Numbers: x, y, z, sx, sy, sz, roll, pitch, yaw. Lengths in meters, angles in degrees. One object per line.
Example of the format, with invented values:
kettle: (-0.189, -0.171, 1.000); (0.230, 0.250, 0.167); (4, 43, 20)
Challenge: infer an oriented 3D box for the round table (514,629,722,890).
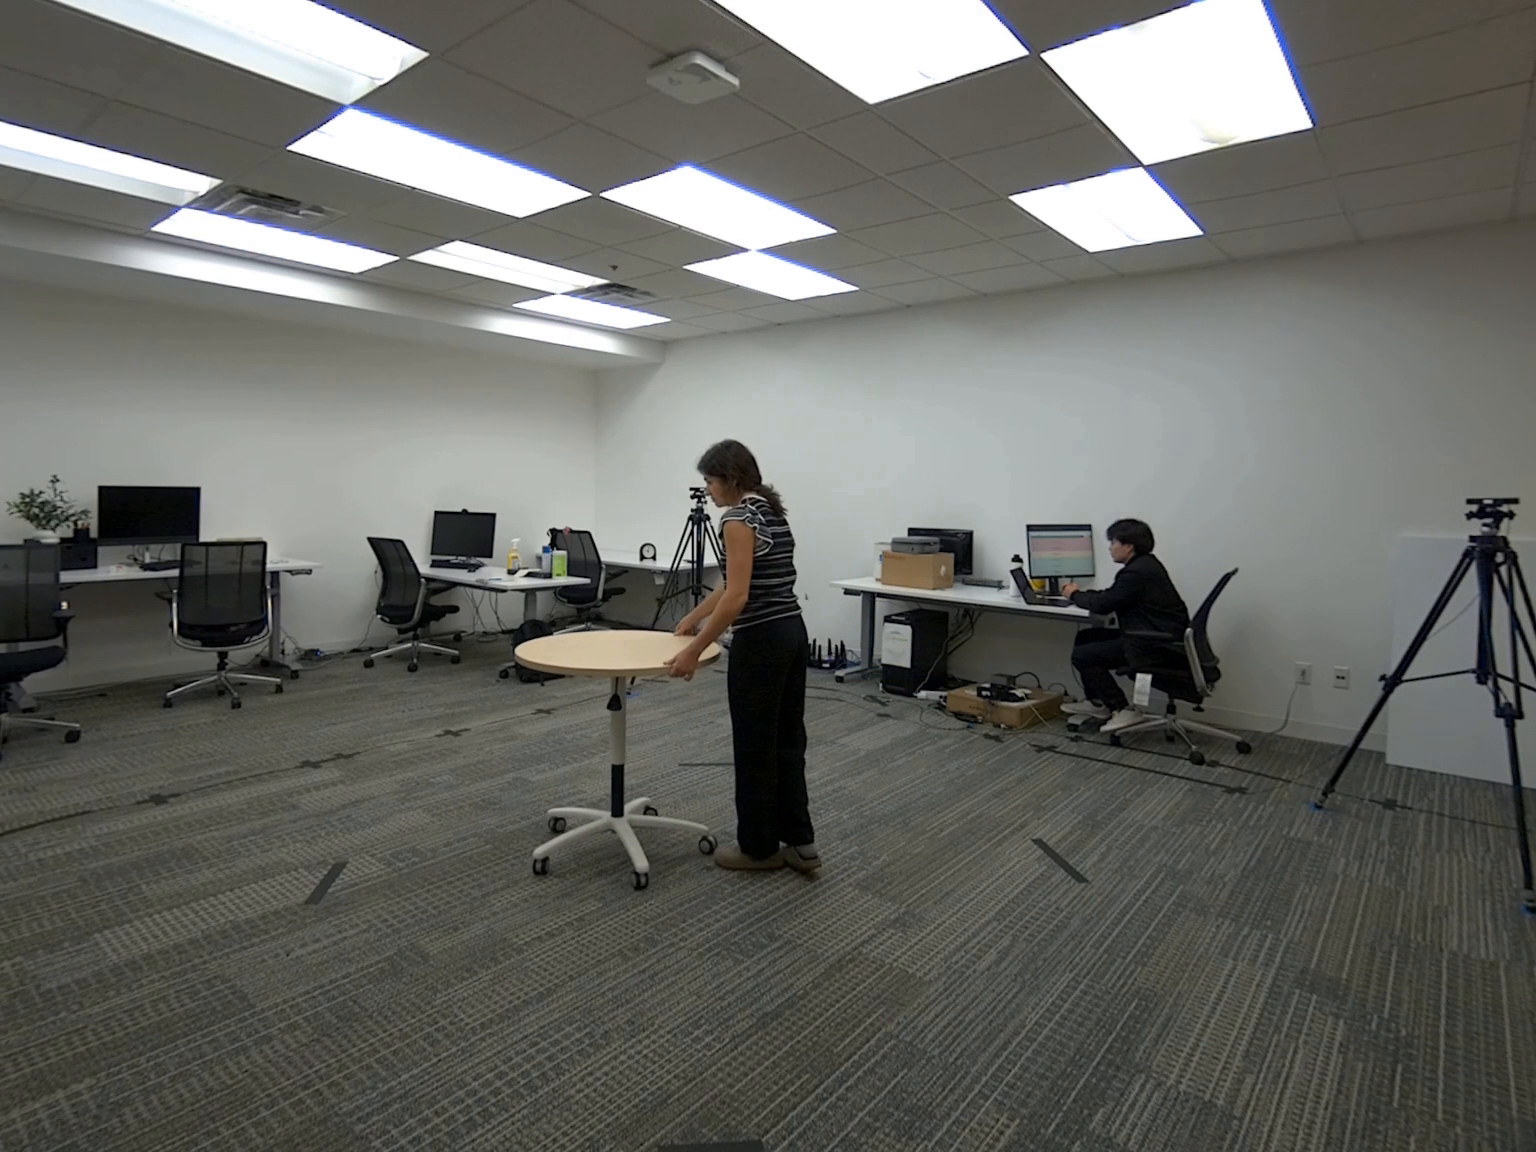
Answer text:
round table: (-0.579, 0.657, 3.208); (0.784, 0.784, 0.789); (1, 4, -2)
